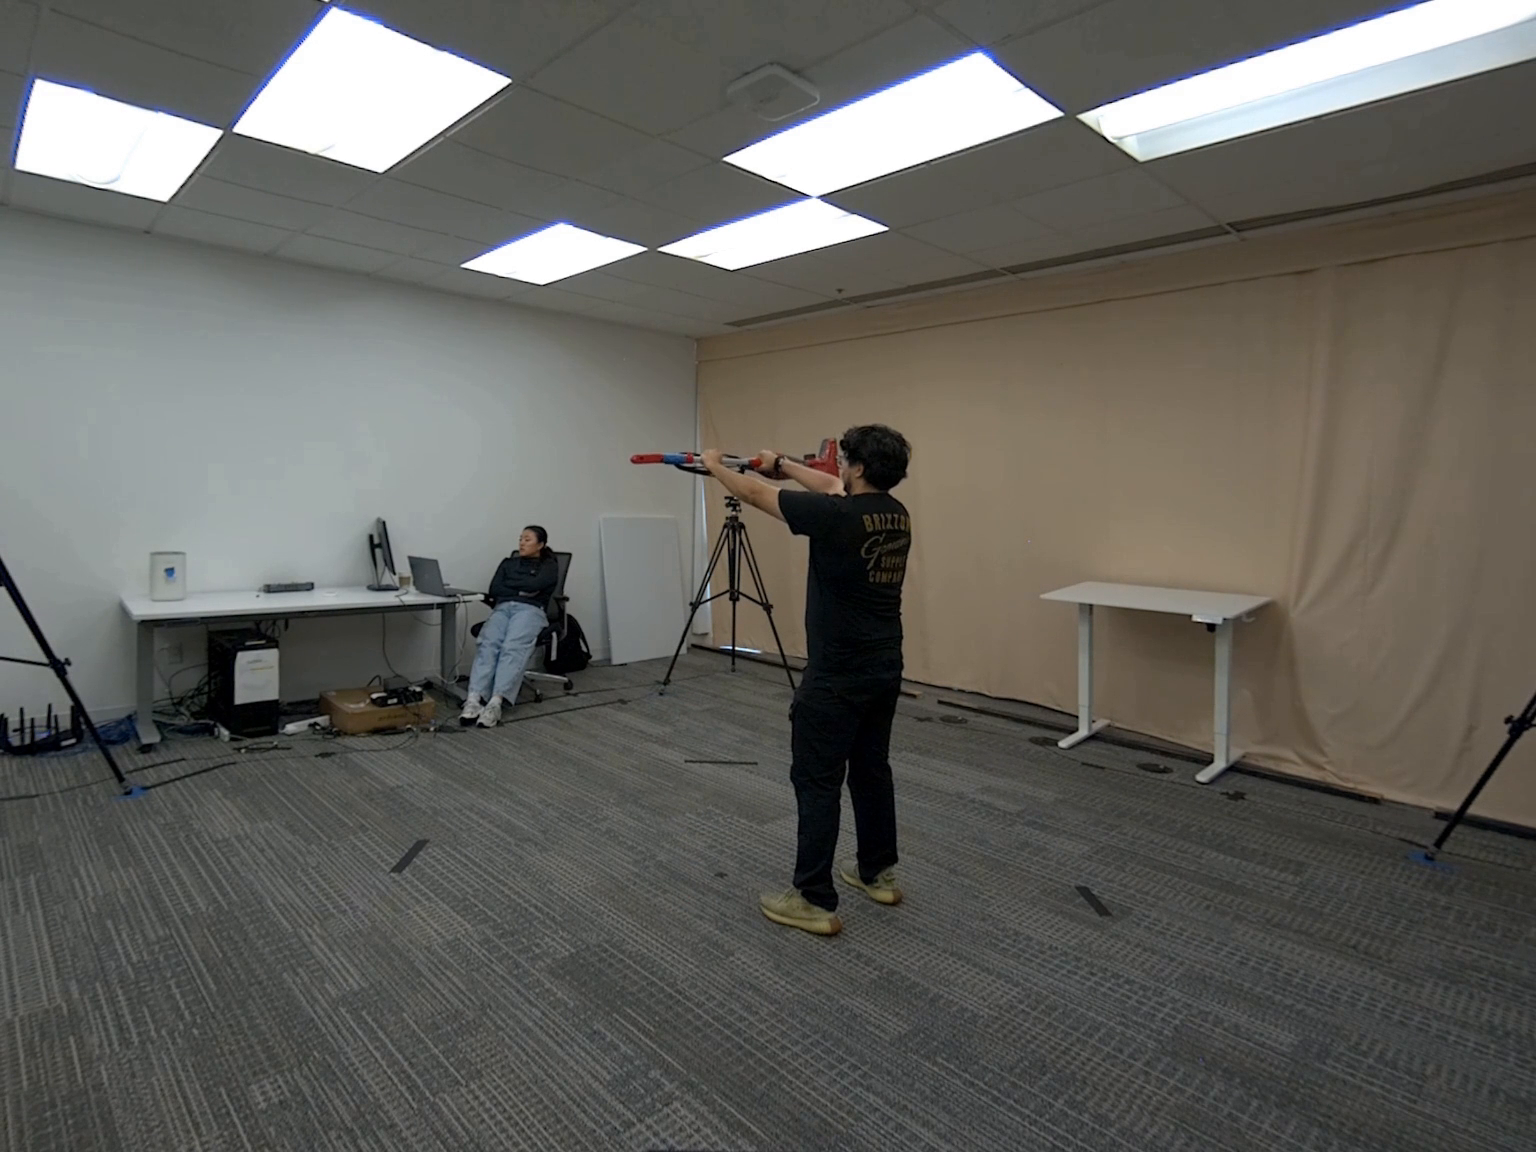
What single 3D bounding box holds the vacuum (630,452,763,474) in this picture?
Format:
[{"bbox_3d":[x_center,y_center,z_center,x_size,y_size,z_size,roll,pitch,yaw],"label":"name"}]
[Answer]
[{"bbox_3d":[-0.109,-0.428,3.253,0.147,0.253,1.026,-6,0,42],"label":"vacuum"}]
